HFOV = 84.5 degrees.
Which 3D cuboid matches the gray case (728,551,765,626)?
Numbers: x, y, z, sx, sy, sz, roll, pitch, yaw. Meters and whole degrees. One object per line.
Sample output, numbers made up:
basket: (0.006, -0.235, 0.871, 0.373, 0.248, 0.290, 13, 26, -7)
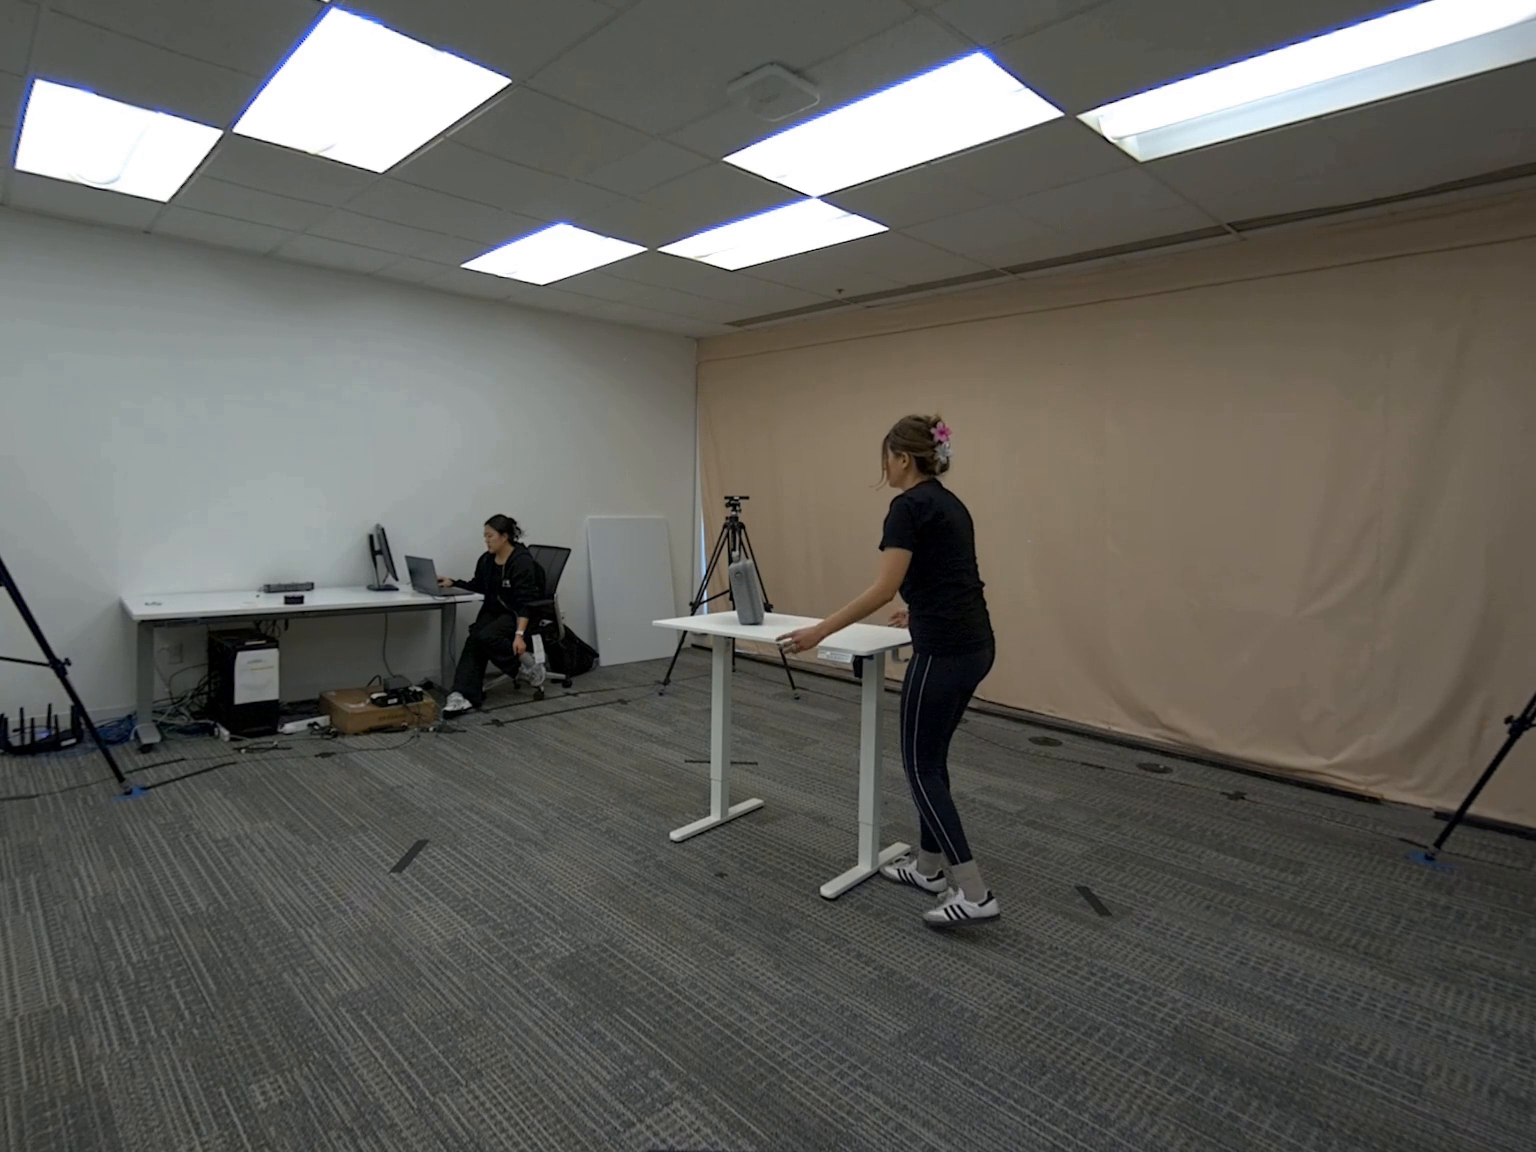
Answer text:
gray case: (-0.101, 0.056, 3.483, 0.104, 0.260, 0.257, -9, 2, -3)
